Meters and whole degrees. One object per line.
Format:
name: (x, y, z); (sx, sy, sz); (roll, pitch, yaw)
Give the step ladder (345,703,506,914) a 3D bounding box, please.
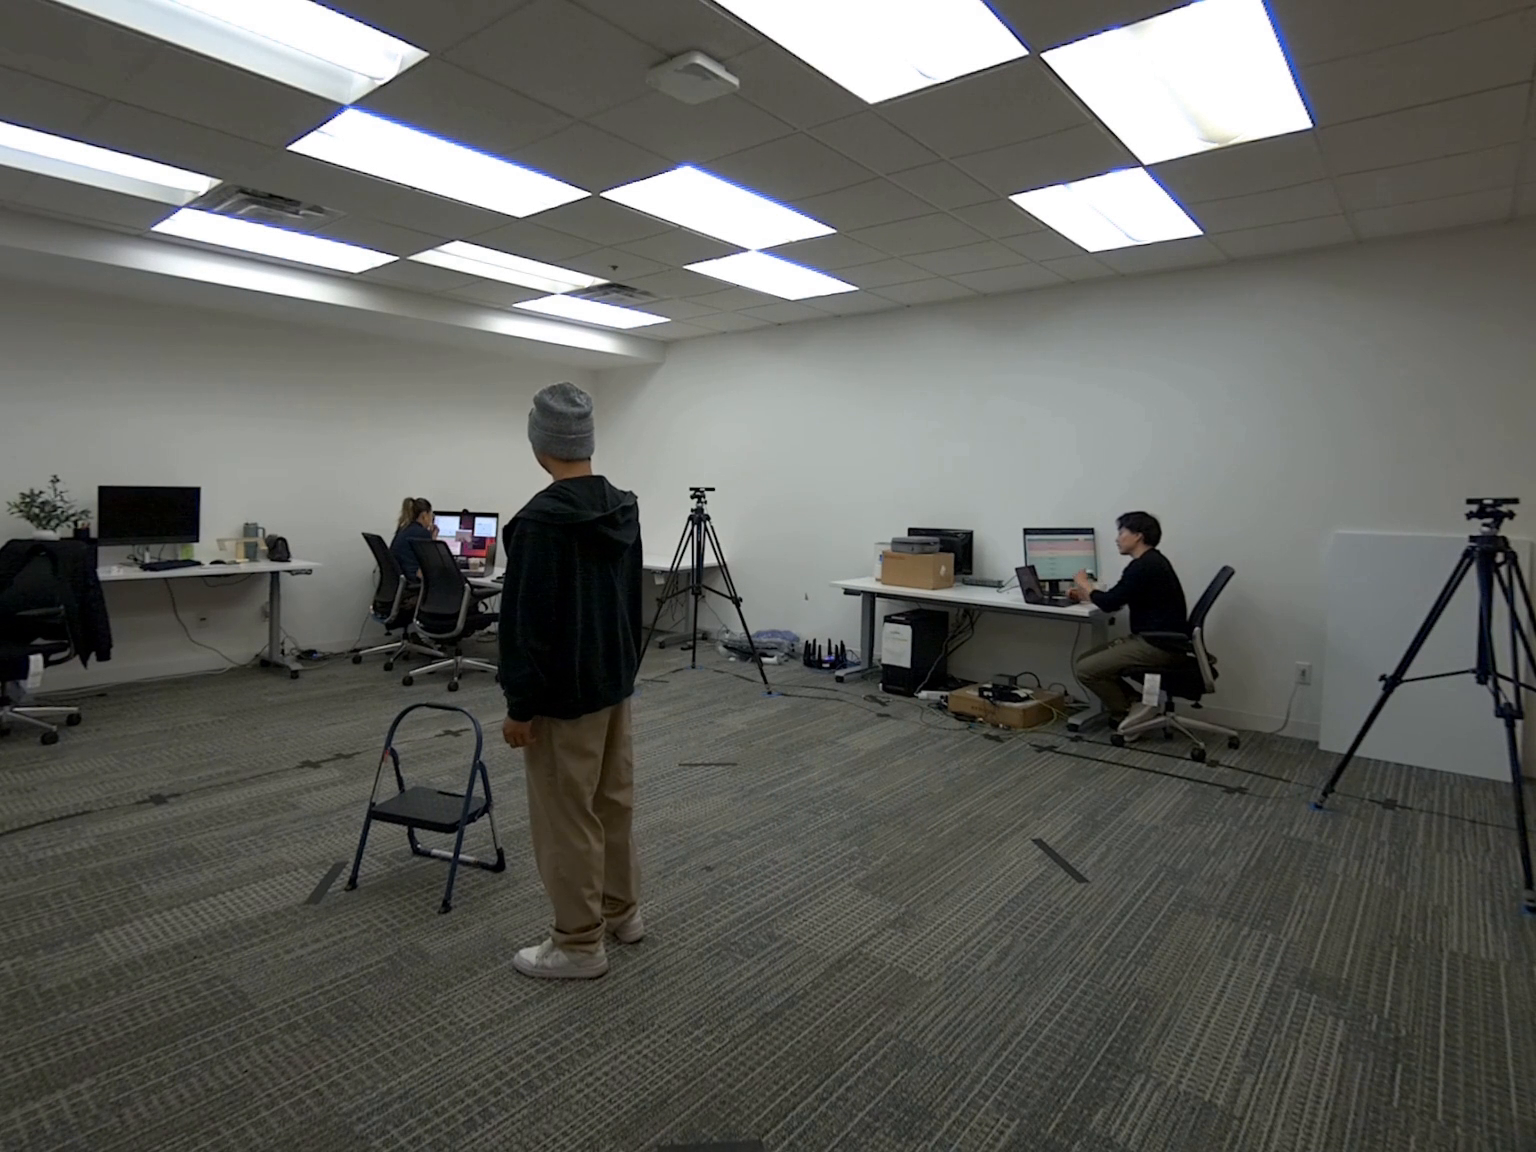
step ladder: (-1.206, 0.764, 2.976); (0.440, 0.604, 0.343); (2, 4, 19)
